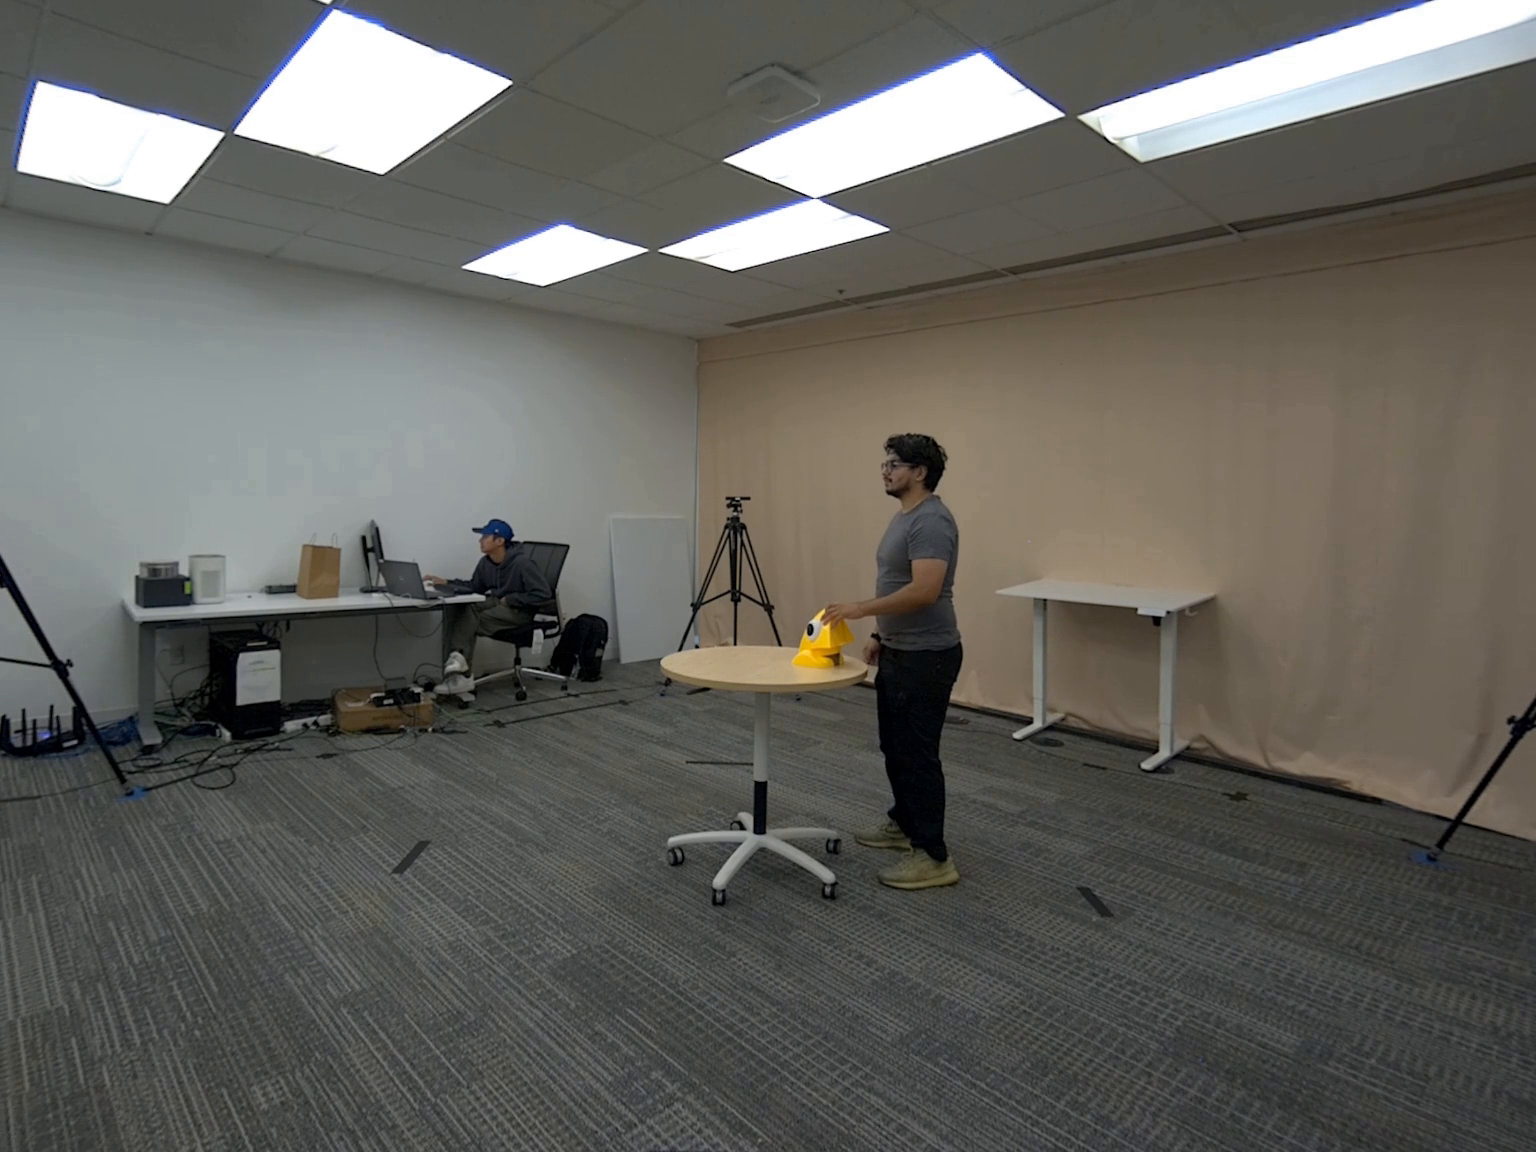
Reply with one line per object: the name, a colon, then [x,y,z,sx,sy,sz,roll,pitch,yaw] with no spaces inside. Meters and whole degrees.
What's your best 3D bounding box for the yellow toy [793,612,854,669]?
yellow toy: [0.195,0.211,3.142,0.197,0.230,0.200,3,4,33]
